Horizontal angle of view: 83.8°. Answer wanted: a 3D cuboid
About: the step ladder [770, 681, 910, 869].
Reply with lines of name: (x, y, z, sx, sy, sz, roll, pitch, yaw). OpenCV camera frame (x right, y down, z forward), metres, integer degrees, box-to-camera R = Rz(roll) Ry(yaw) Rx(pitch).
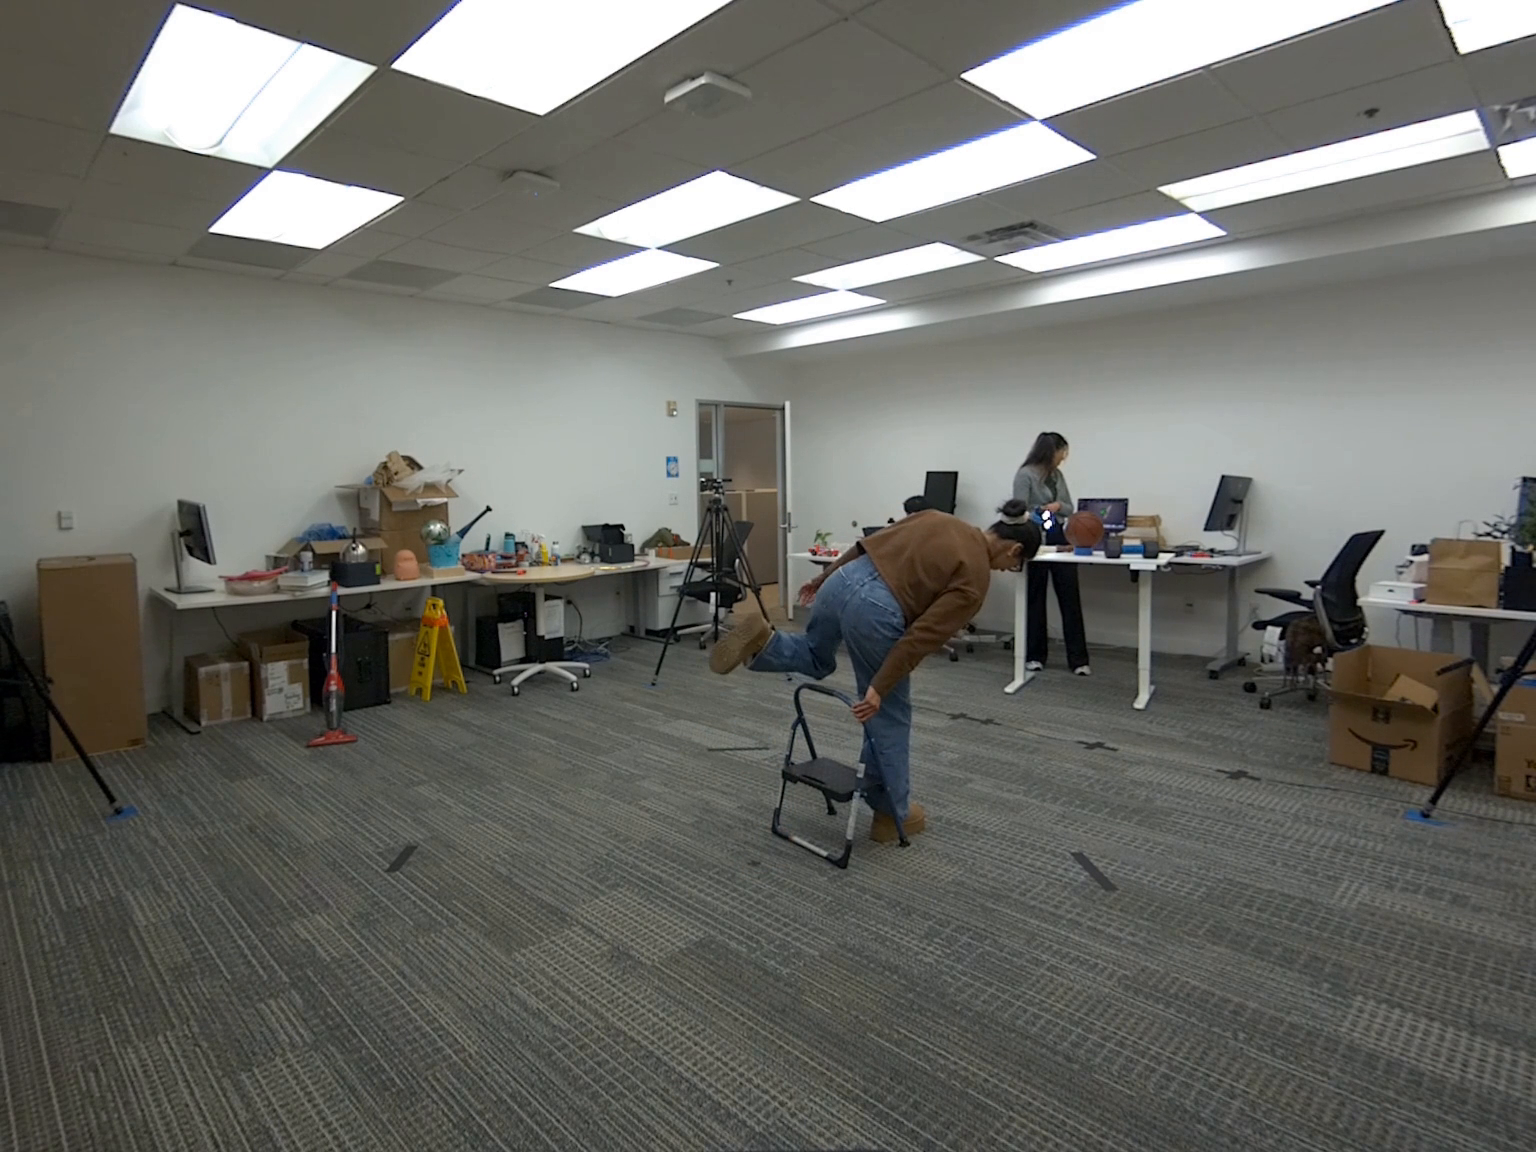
step ladder: (0.267, 0.714, 3.288, 0.340, 0.604, 0.444, -5, 6, -38)
